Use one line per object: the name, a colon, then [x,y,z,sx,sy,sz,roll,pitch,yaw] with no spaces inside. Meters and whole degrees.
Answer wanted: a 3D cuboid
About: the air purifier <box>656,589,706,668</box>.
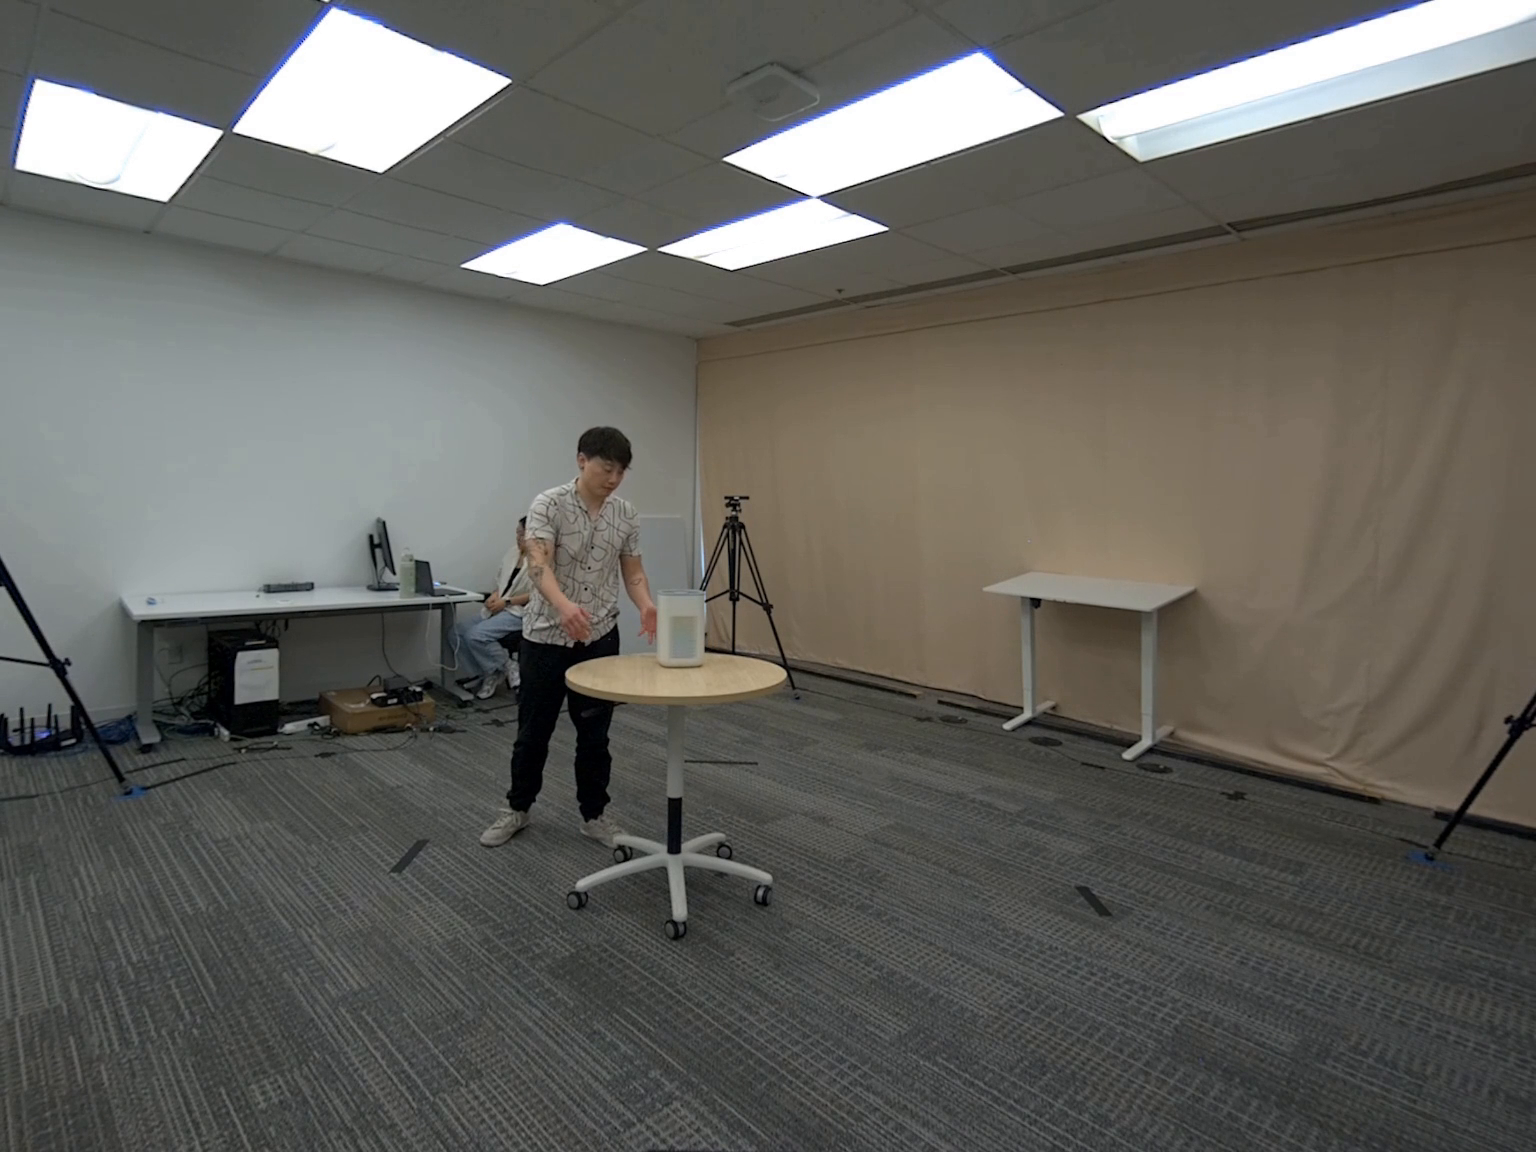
air purifier: [-0.327,0.191,3.061,0.170,0.265,0.173,0,4,-11]
